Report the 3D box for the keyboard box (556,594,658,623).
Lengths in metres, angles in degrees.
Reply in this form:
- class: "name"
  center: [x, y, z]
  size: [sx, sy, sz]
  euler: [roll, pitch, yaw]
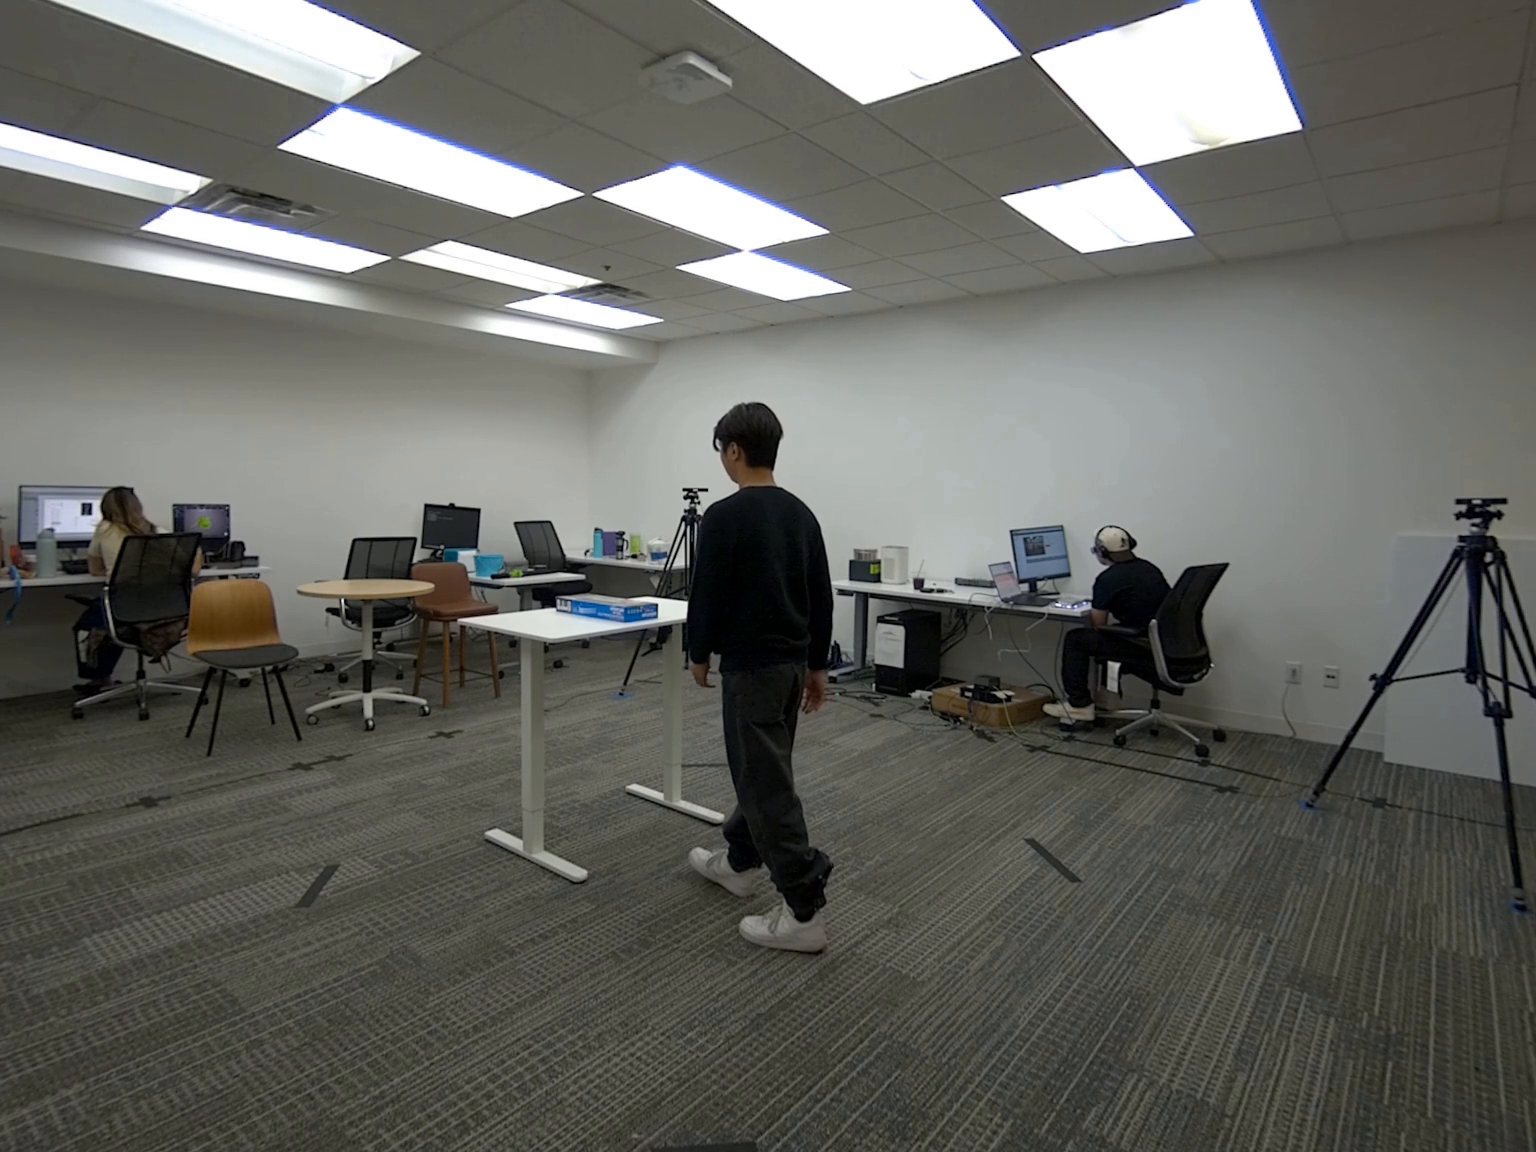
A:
- class: "keyboard box"
  center: [-0.663, 0.123, 3.392]
  size: [0.452, 0.059, 0.171]
  euler: [5, 7, 42]
